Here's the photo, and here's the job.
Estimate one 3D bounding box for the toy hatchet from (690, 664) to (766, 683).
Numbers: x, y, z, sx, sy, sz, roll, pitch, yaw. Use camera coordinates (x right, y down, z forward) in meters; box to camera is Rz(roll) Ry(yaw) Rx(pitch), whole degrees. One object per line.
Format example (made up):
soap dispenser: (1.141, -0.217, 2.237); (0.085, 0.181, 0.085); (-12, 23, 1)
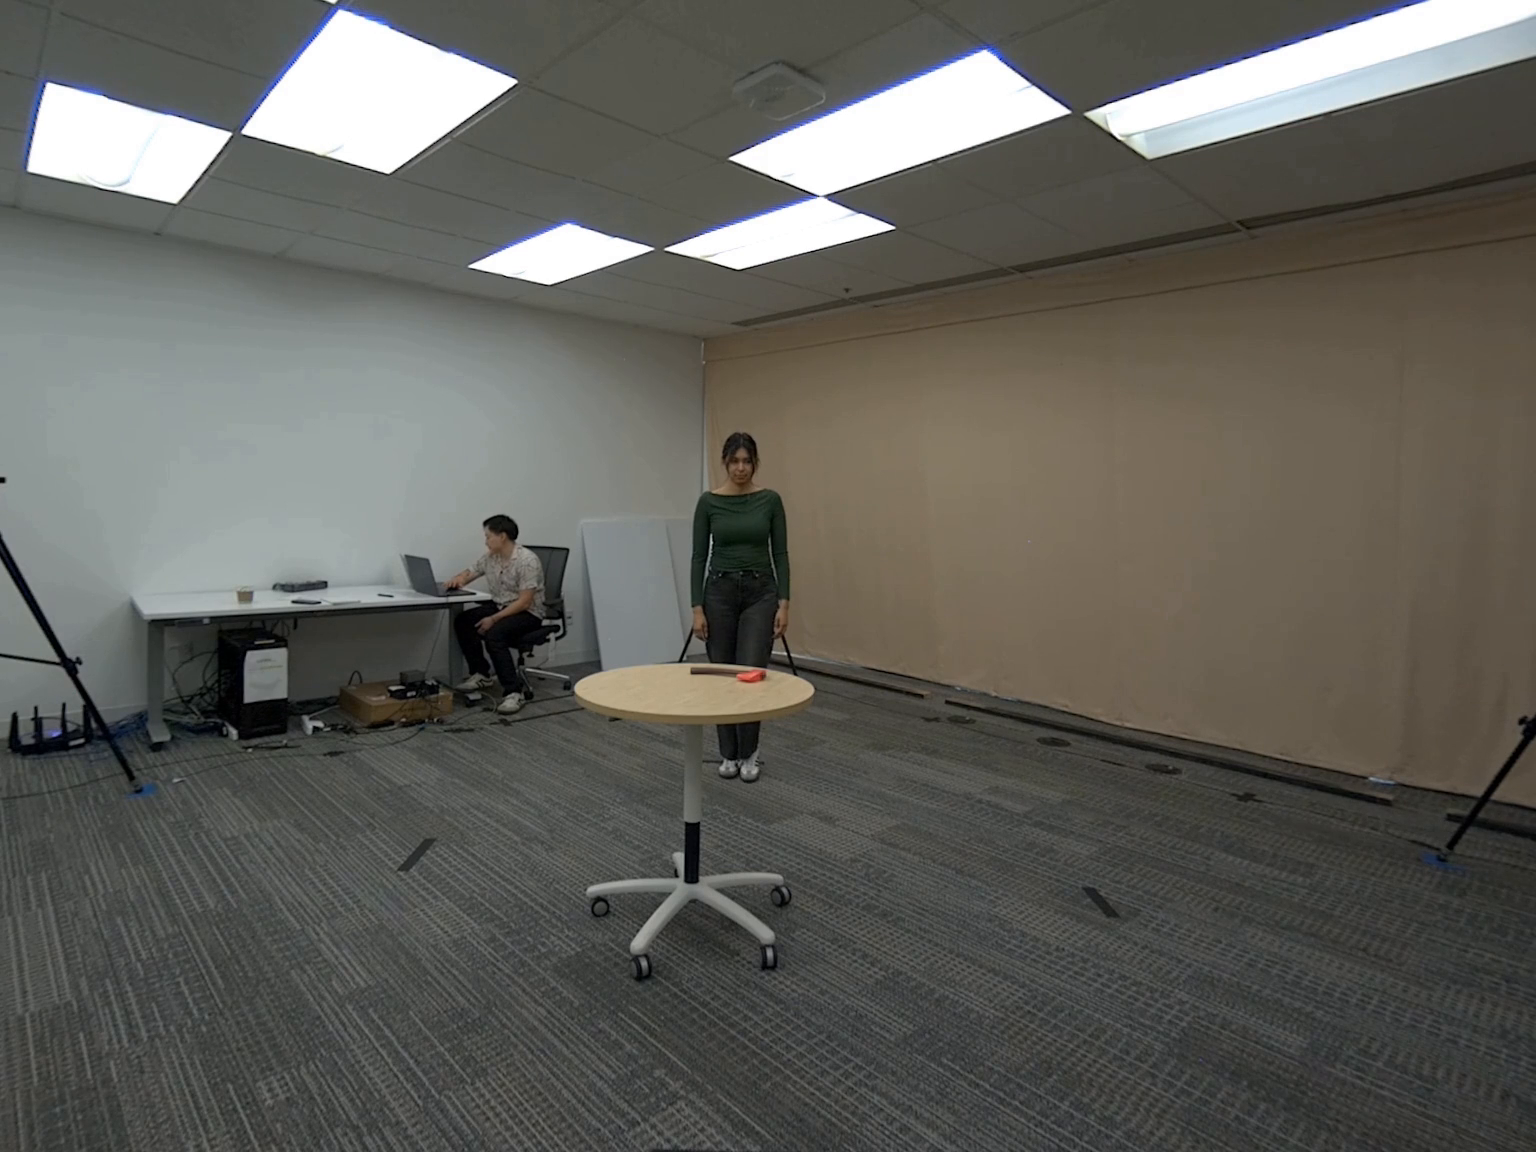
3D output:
toy hatchet: (-0.154, 0.337, 2.834); (0.272, 0.029, 0.131); (0, 9, 9)
